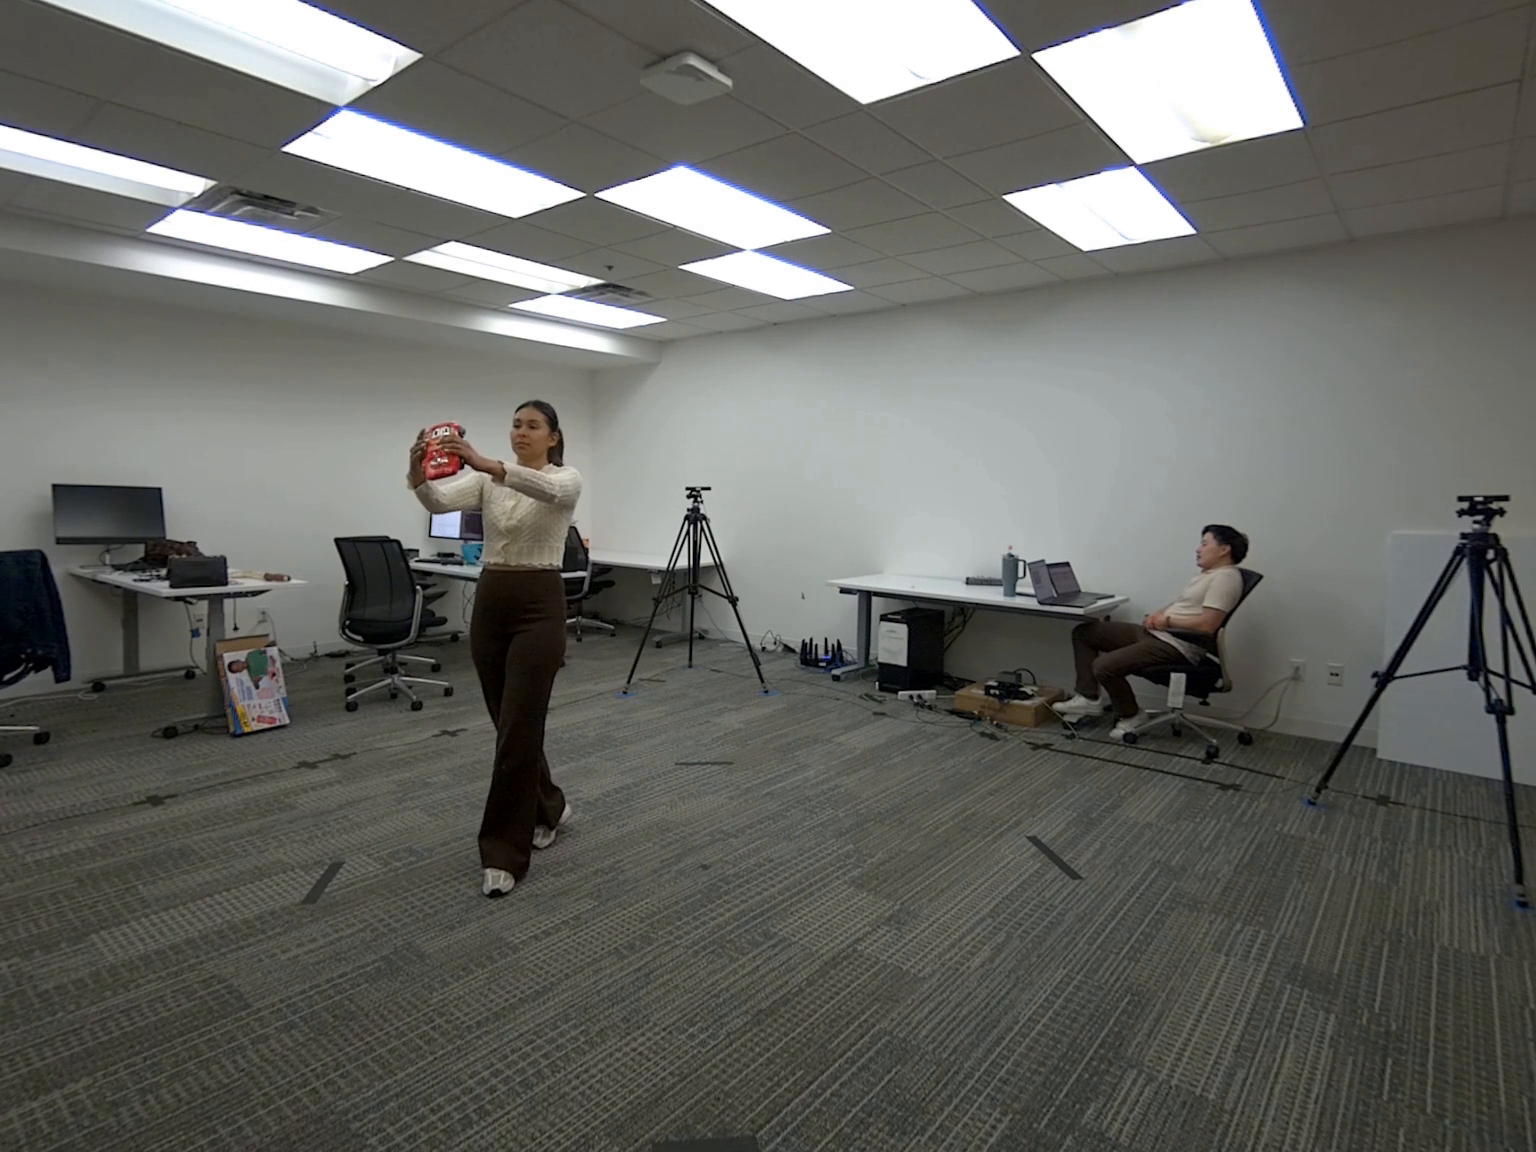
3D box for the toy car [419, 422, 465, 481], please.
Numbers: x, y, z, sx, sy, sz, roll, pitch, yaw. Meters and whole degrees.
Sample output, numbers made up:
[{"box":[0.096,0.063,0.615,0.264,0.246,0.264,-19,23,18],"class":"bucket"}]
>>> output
[{"box":[-0.996,-0.382,2.592,0.130,0.080,0.264,-12,39,-4],"class":"toy car"}]
